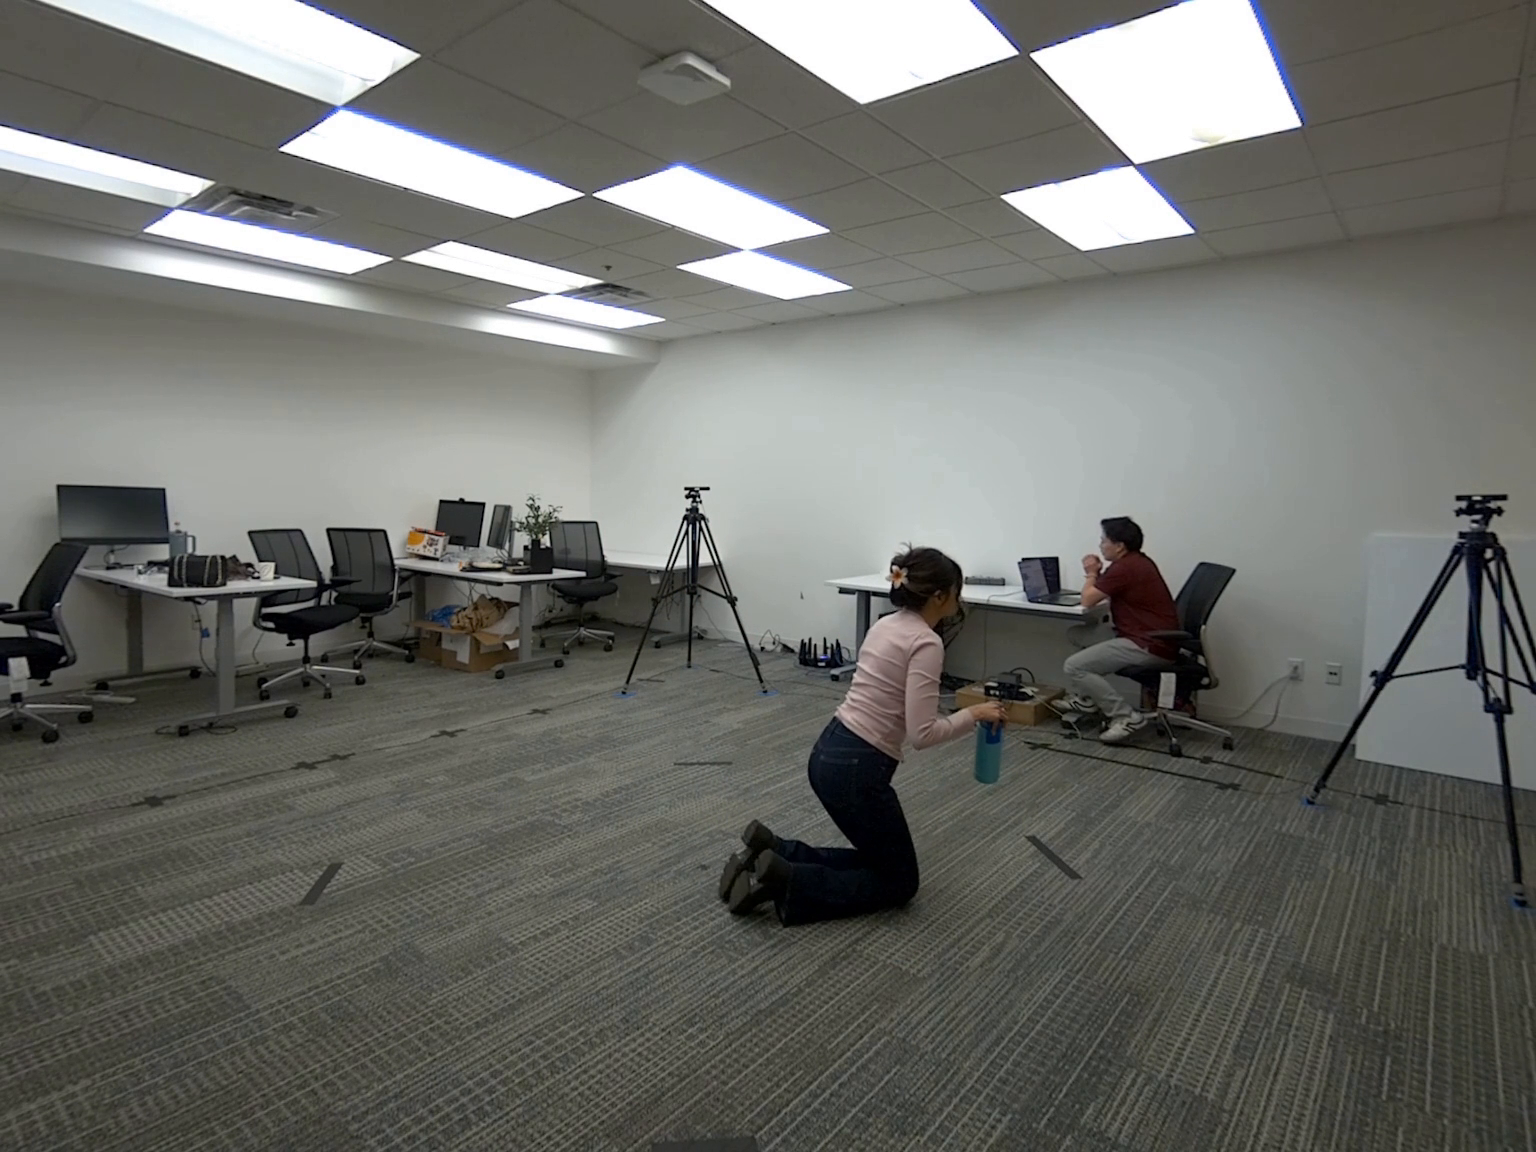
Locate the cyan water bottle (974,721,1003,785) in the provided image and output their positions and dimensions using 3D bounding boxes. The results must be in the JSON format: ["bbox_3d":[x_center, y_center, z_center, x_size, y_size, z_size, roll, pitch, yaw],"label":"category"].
[{"bbox_3d":[0.754,0.577,2.904,0.092,0.277,0.094,-4,22,0],"label":"cyan water bottle"}]
